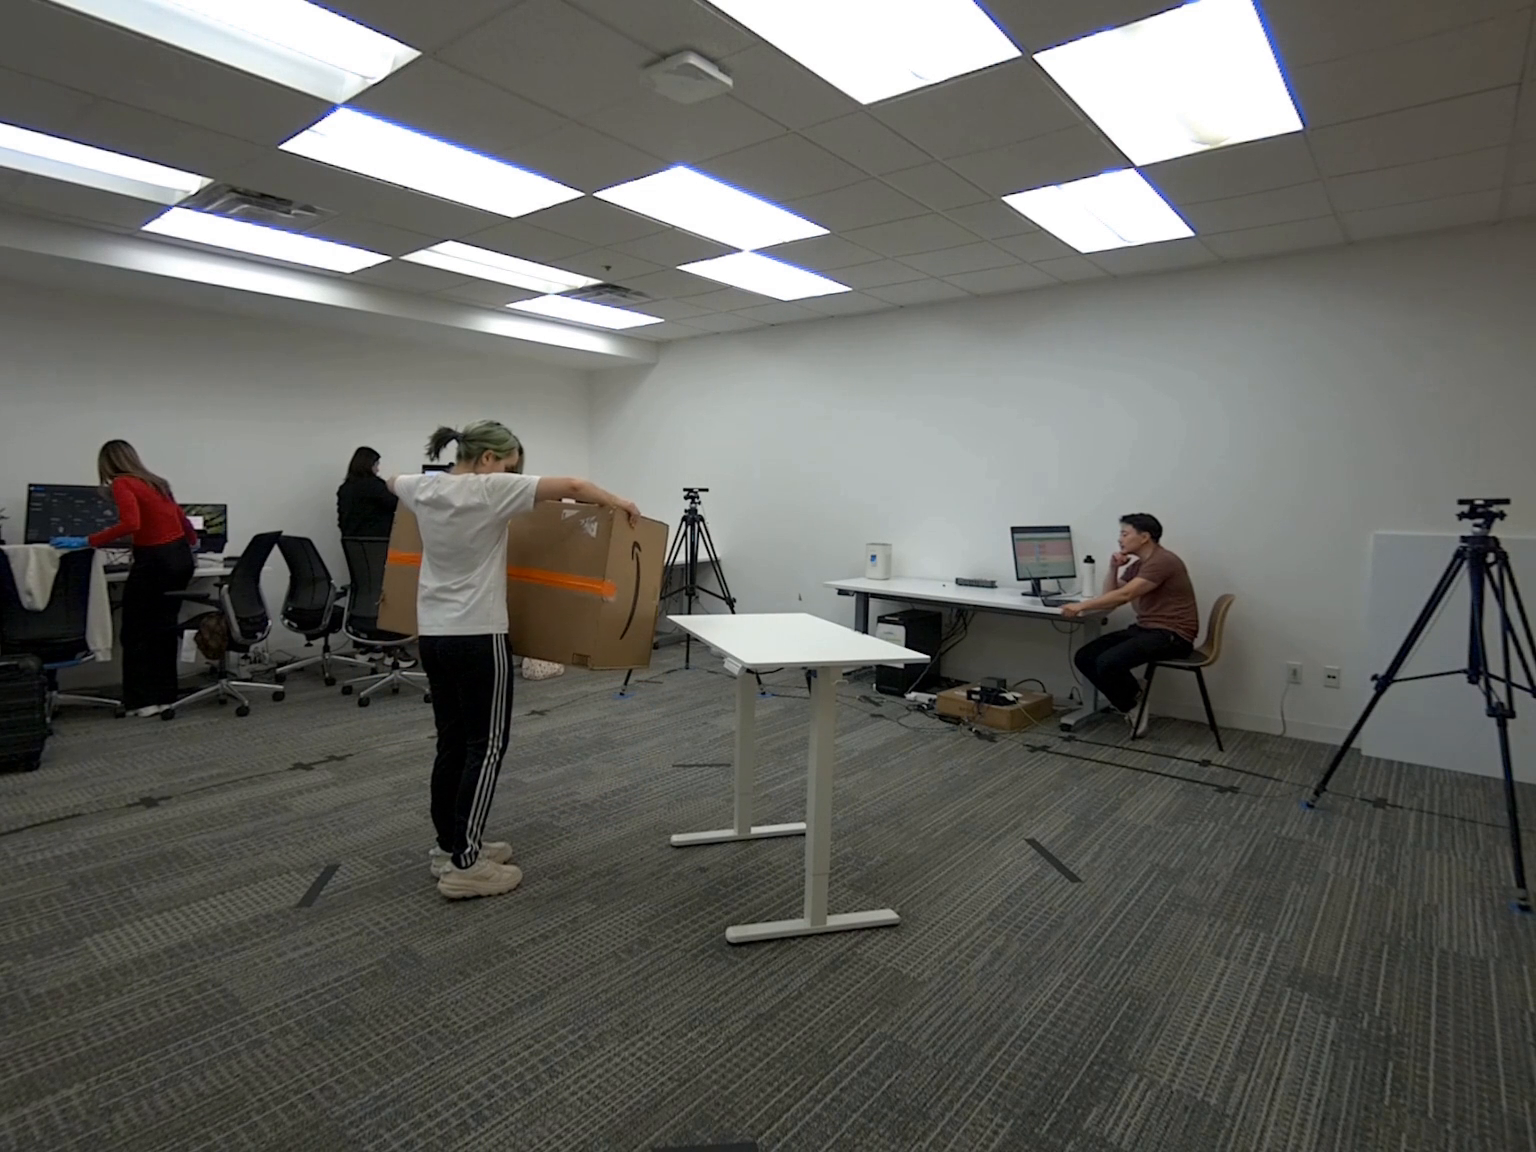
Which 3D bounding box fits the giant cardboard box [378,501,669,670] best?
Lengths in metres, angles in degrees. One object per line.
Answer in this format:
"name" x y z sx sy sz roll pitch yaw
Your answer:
"giant cardboard box" -0.984 0.001 3.381 1.054 0.586 0.434 6 -3 24
